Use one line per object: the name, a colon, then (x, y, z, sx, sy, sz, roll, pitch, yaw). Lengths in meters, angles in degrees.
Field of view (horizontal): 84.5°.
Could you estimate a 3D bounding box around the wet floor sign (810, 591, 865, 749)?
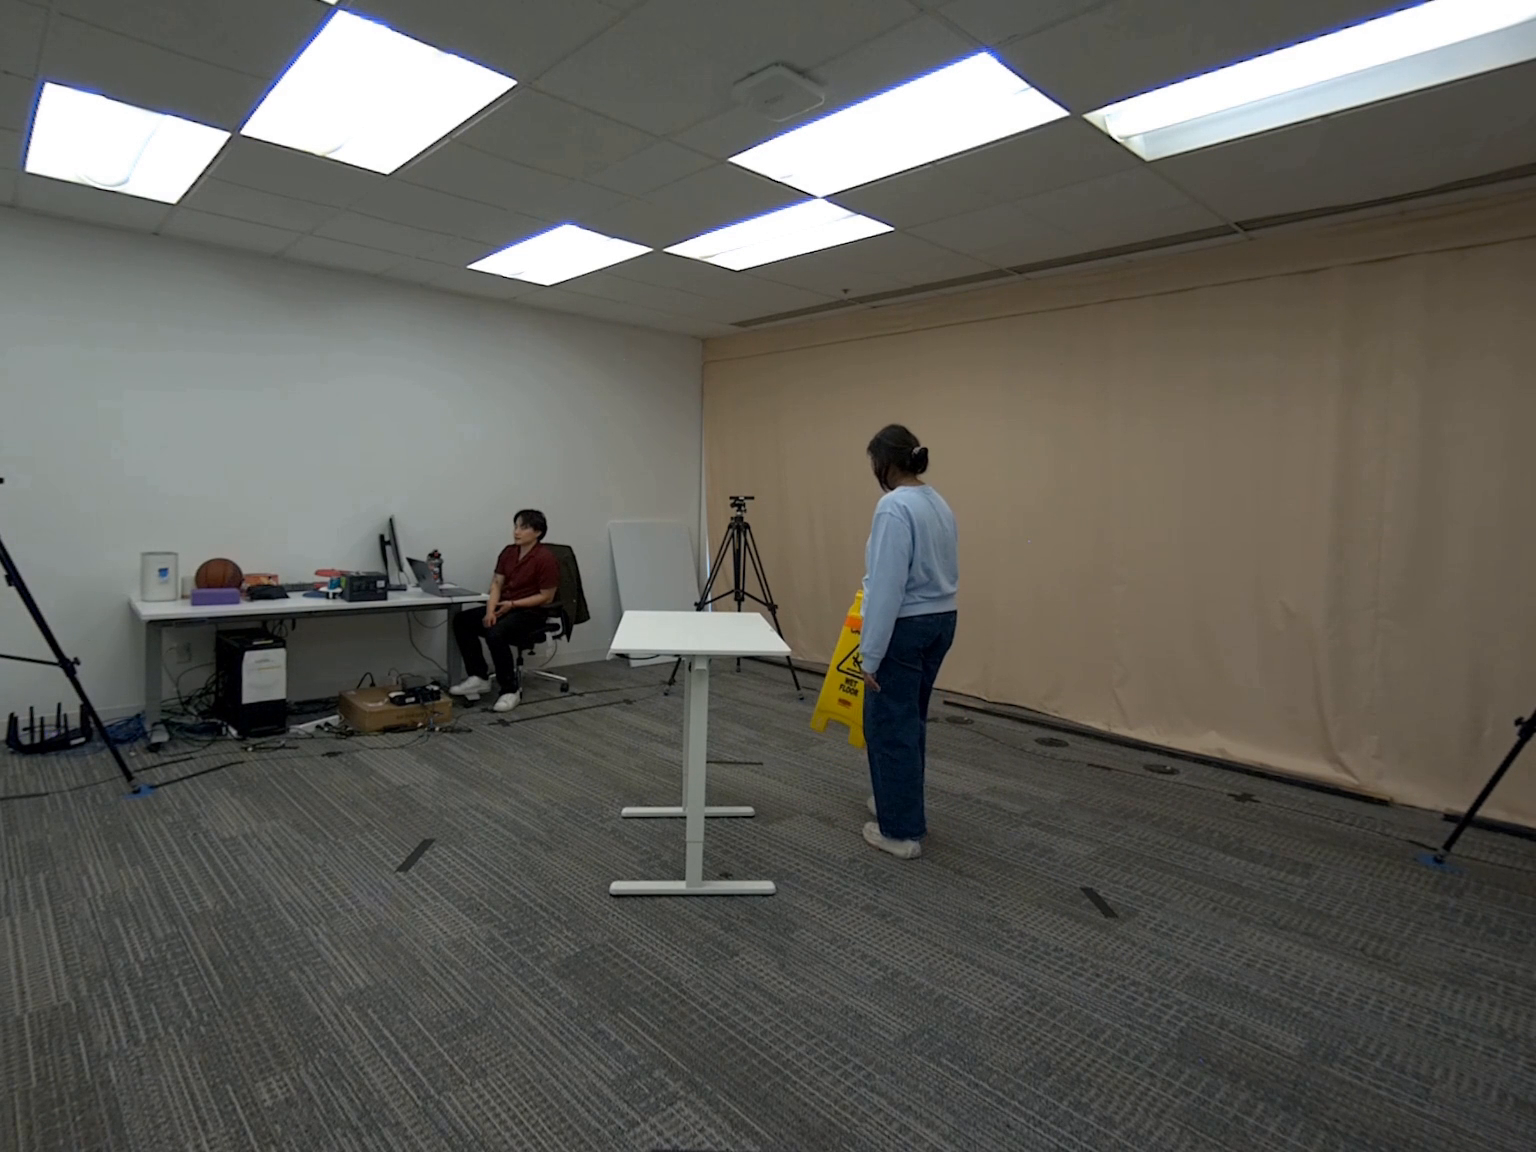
wet floor sign: (0.414, 0.402, 3.782, 0.290, 0.643, 0.283, 17, 9, 35)
